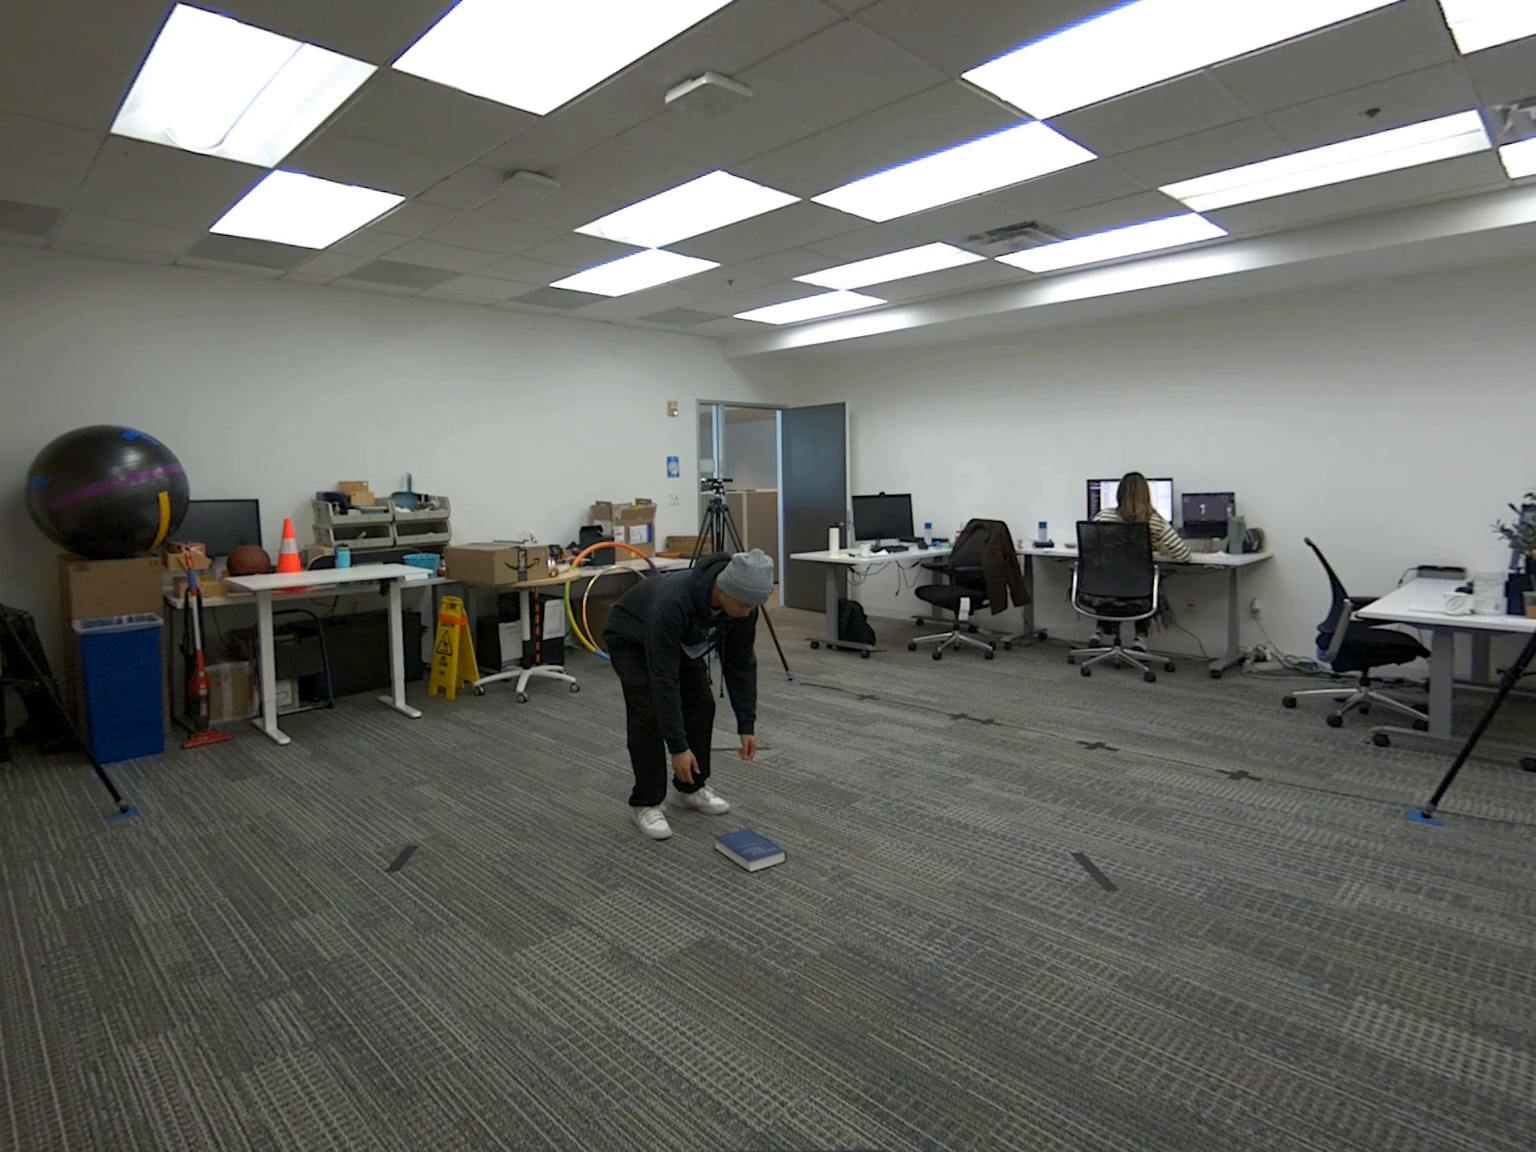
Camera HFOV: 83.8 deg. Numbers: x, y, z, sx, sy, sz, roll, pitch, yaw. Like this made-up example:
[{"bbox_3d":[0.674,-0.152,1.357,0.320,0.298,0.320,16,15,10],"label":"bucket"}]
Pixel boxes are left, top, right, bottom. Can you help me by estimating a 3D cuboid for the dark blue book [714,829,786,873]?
[{"bbox_3d":[-0.068,1.013,3.169,0.159,0.045,0.252,-6,8,-33],"label":"dark blue book"}]
